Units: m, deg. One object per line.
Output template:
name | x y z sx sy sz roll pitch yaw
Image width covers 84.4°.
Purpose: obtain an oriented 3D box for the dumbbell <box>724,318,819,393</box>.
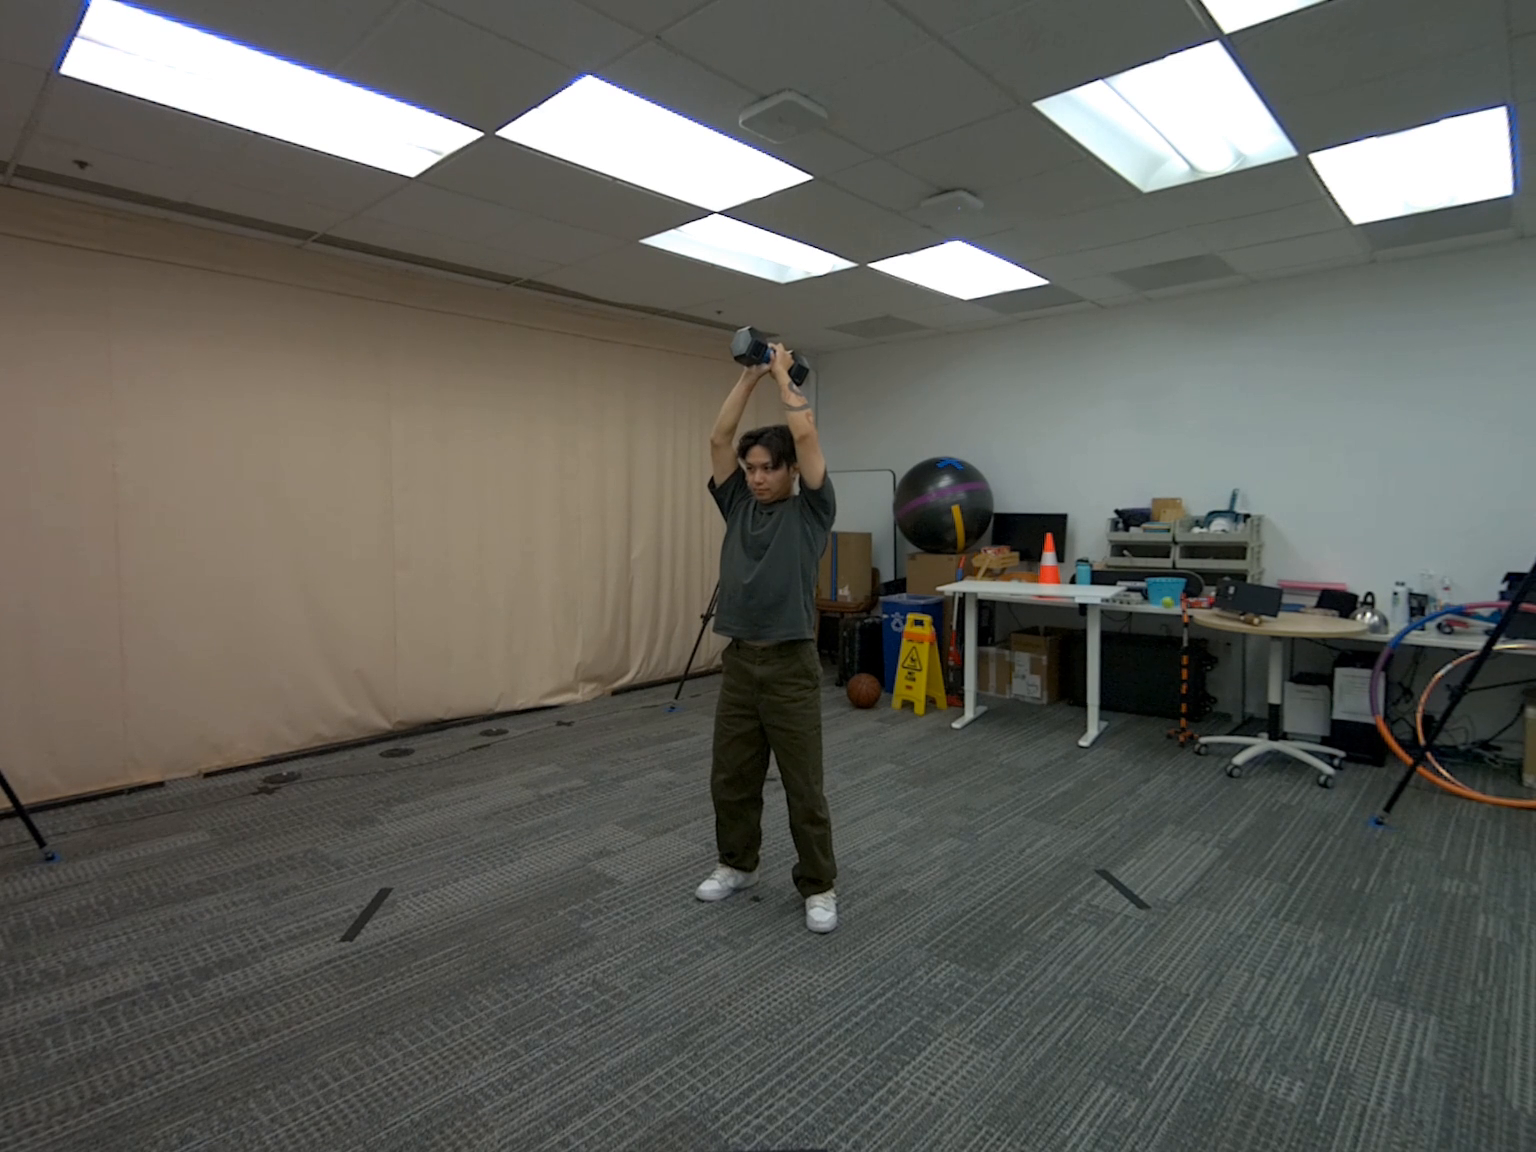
dumbbell | 0.012 -0.734 2.831 0.283 0.123 0.113 17 17 -44
